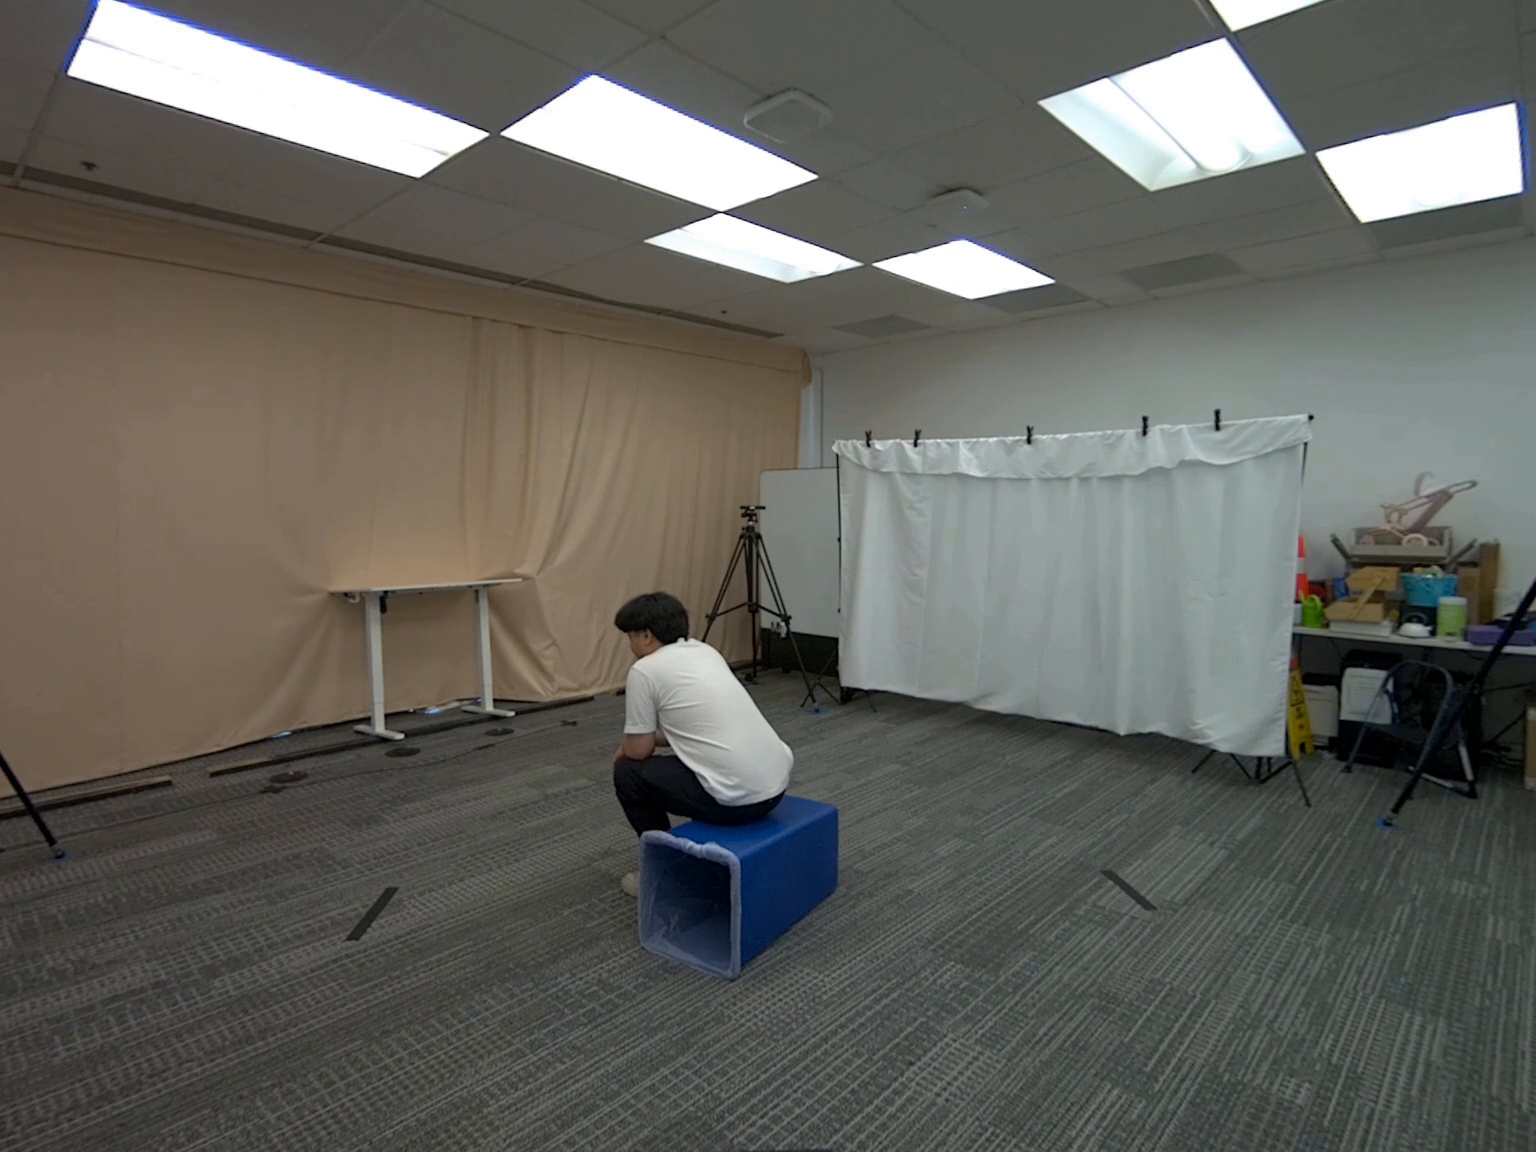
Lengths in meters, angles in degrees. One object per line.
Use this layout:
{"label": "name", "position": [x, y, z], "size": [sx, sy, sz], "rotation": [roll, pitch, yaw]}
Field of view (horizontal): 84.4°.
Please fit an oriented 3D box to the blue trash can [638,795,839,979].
{"label": "blue trash can", "position": [-0.055, 0.992, 2.840], "size": [0.389, 0.374, 0.692], "rotation": [0, 0, 34]}
